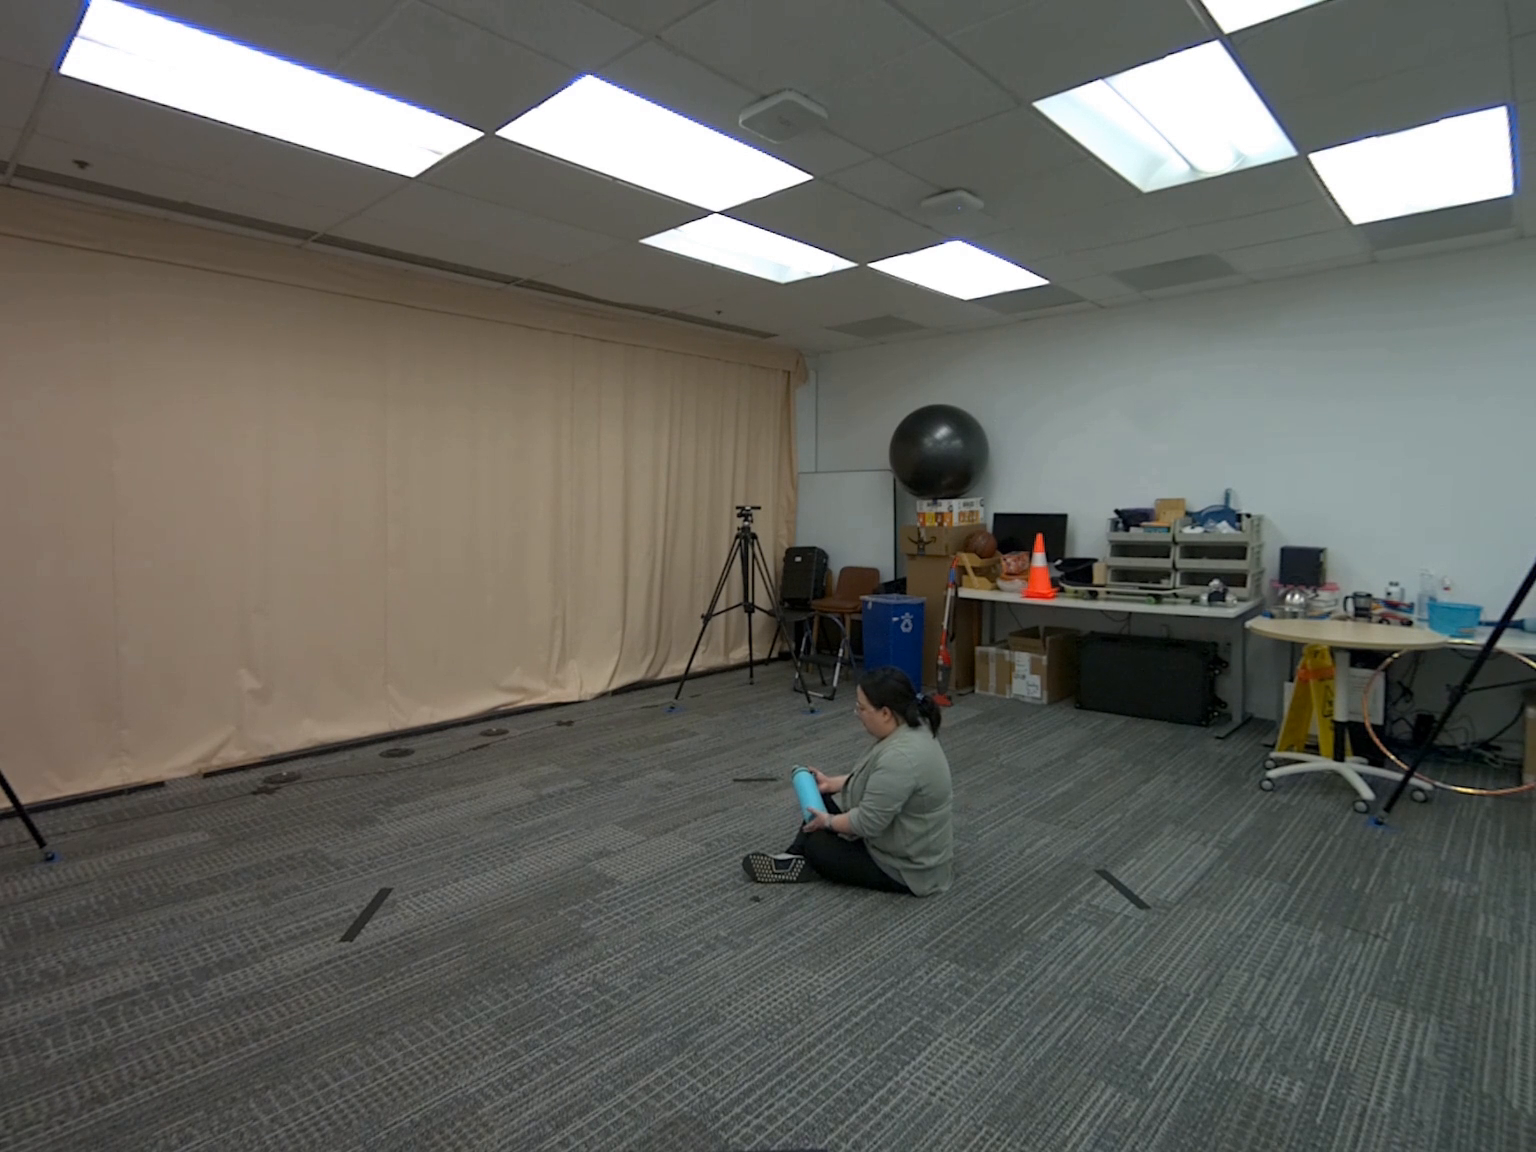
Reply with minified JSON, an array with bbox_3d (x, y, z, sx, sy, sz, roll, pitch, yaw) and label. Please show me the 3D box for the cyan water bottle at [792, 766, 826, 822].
[{"bbox_3d":[0.166,0.857,3.314,0.091,0.091,0.290,-1,29,-11],"label":"cyan water bottle"}]
